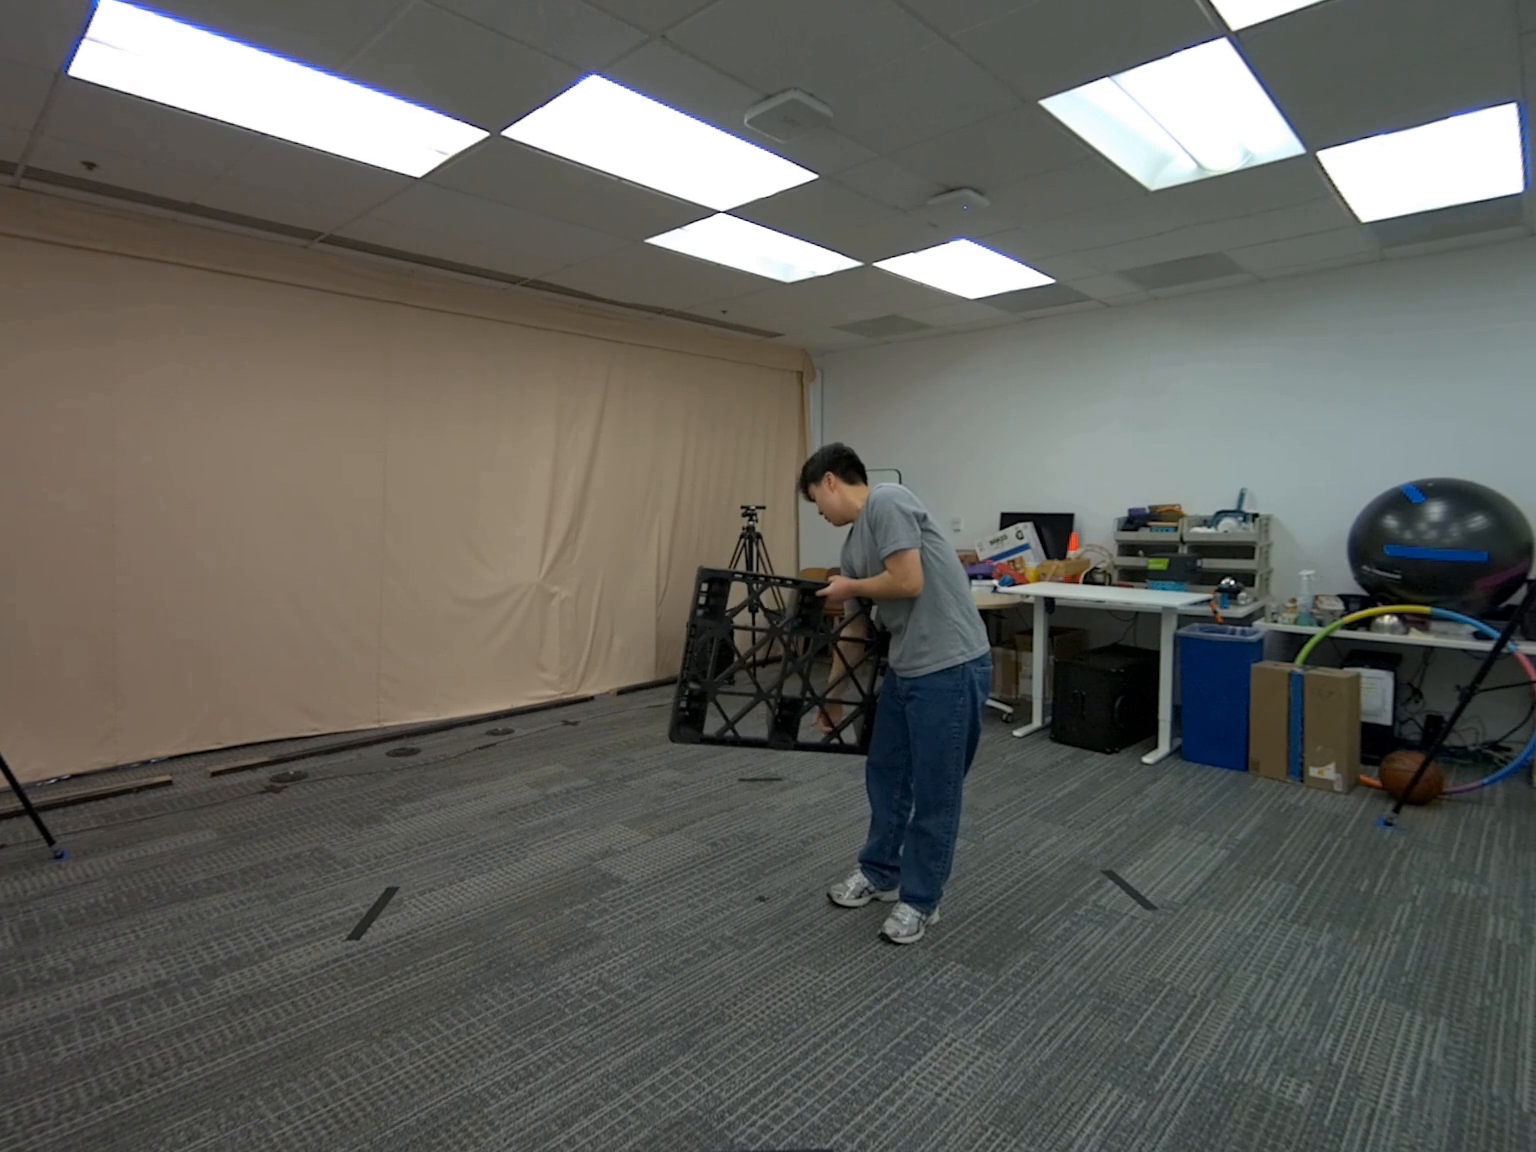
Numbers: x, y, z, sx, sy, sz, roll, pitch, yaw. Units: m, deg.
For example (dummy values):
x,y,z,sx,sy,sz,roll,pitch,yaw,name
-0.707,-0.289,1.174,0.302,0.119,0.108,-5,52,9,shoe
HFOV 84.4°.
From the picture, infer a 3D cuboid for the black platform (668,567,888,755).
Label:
x,y,z,sx,sy,sz,roll,pitch,yaw,name
0.078,0.294,2.891,0.791,0.603,0.146,8,9,-16,black platform
